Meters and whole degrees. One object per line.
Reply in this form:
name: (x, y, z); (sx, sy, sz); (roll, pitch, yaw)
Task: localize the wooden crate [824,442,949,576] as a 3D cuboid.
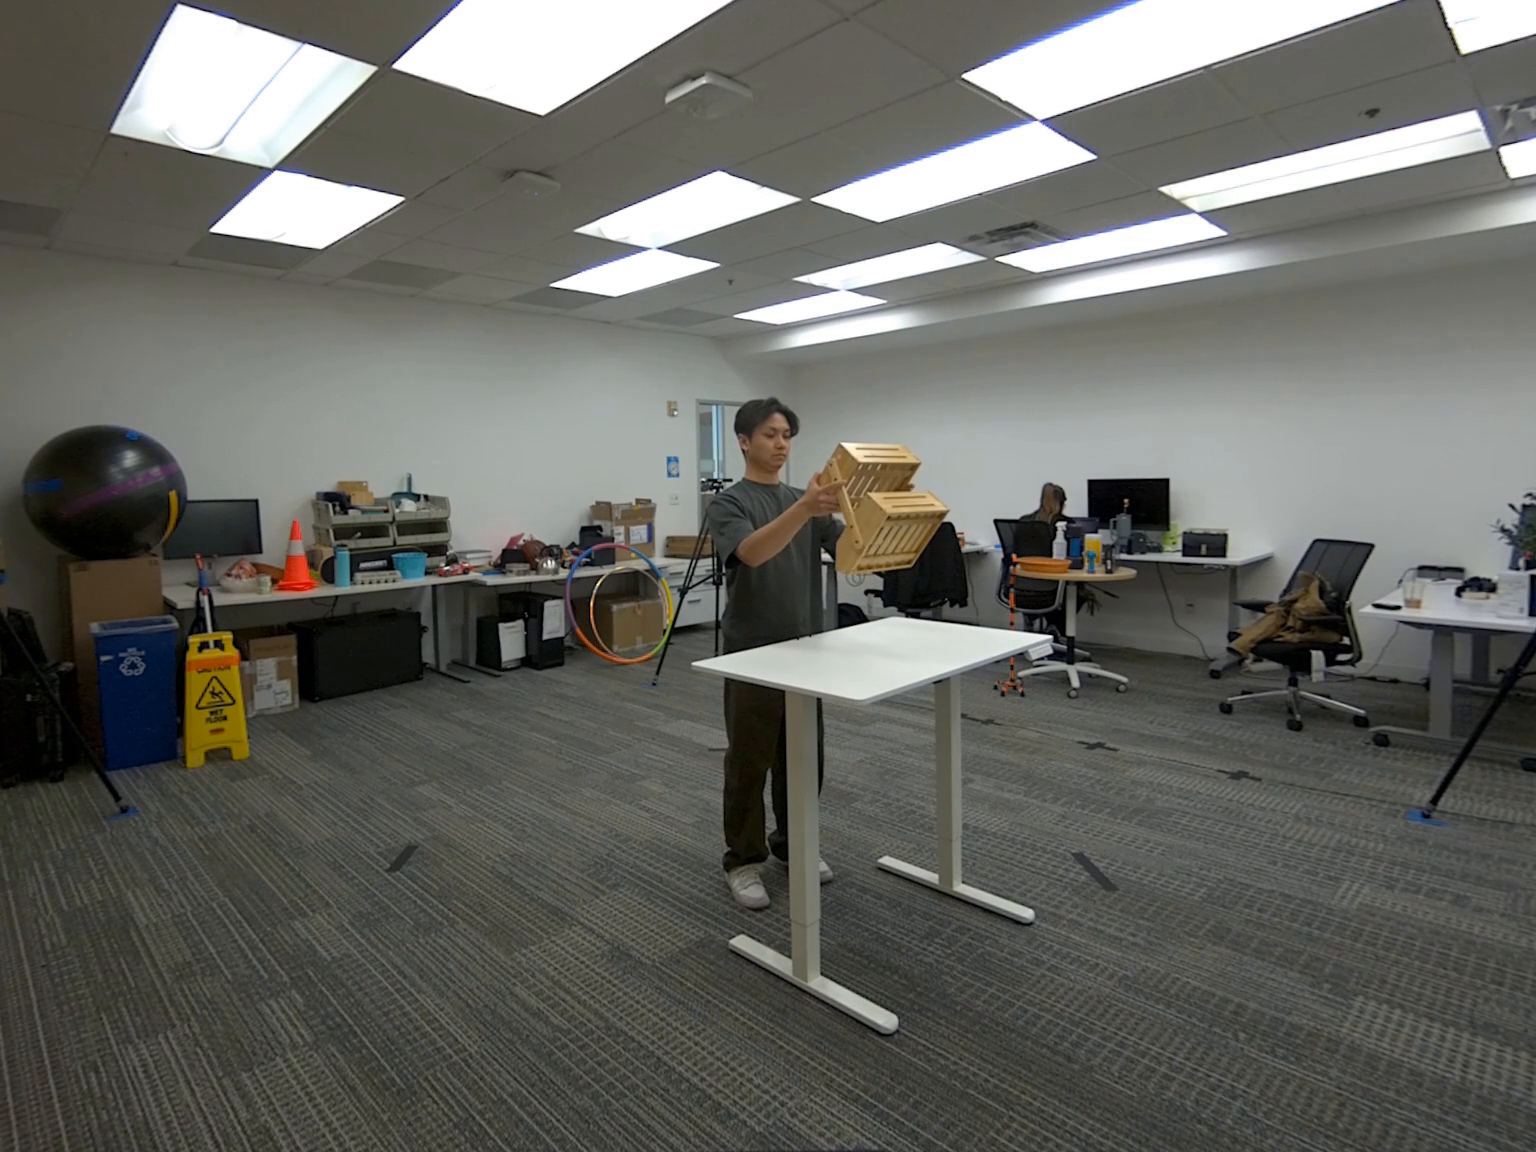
wooden crate: (0.323, -0.199, 2.561); (0.316, 0.299, 0.283); (-5, 45, -43)
